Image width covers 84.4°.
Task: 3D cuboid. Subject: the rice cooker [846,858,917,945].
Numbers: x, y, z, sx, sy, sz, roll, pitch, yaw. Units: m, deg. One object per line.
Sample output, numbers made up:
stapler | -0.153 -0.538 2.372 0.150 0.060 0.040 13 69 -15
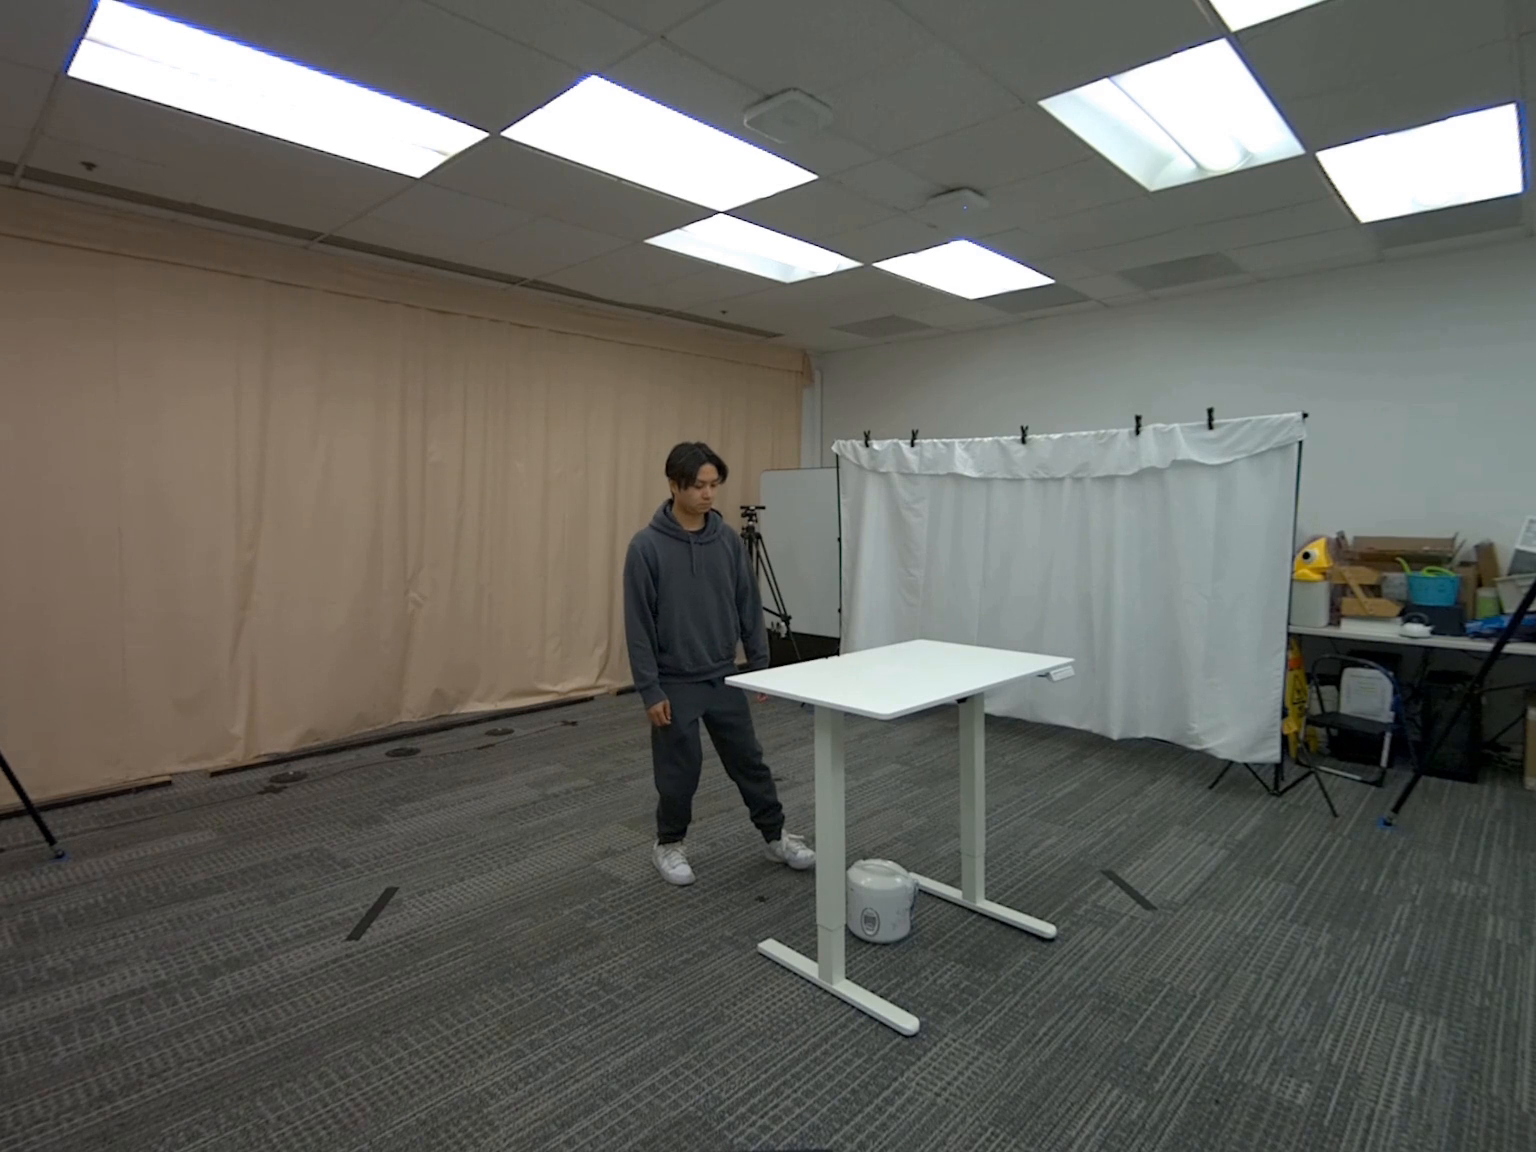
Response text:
rice cooker | 0.366 1.043 2.745 0.226 0.232 0.212 1 3 25
